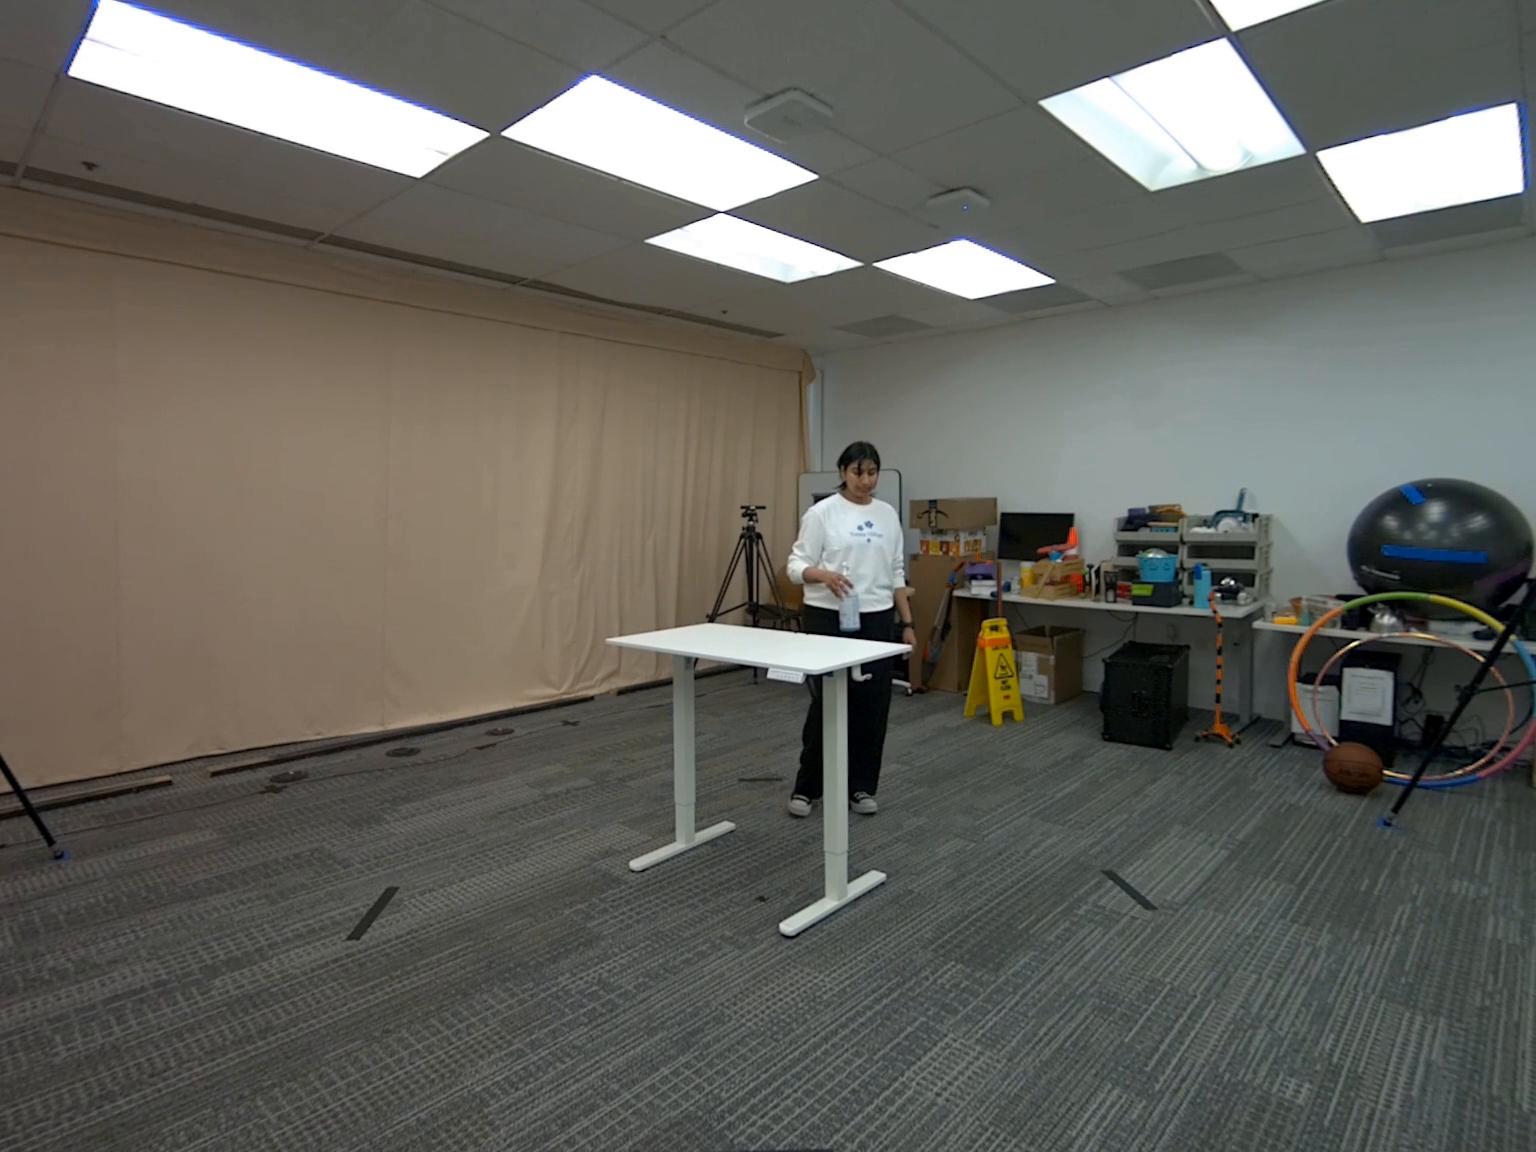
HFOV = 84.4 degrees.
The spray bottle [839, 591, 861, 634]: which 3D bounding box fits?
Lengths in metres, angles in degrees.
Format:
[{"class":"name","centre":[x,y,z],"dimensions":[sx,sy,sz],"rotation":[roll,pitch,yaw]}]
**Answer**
[{"class":"spray bottle","centre":[0.342,0.088,3.623],"dimensions":[0.090,0.296,0.087],"rotation":[-3,5,43]}]
